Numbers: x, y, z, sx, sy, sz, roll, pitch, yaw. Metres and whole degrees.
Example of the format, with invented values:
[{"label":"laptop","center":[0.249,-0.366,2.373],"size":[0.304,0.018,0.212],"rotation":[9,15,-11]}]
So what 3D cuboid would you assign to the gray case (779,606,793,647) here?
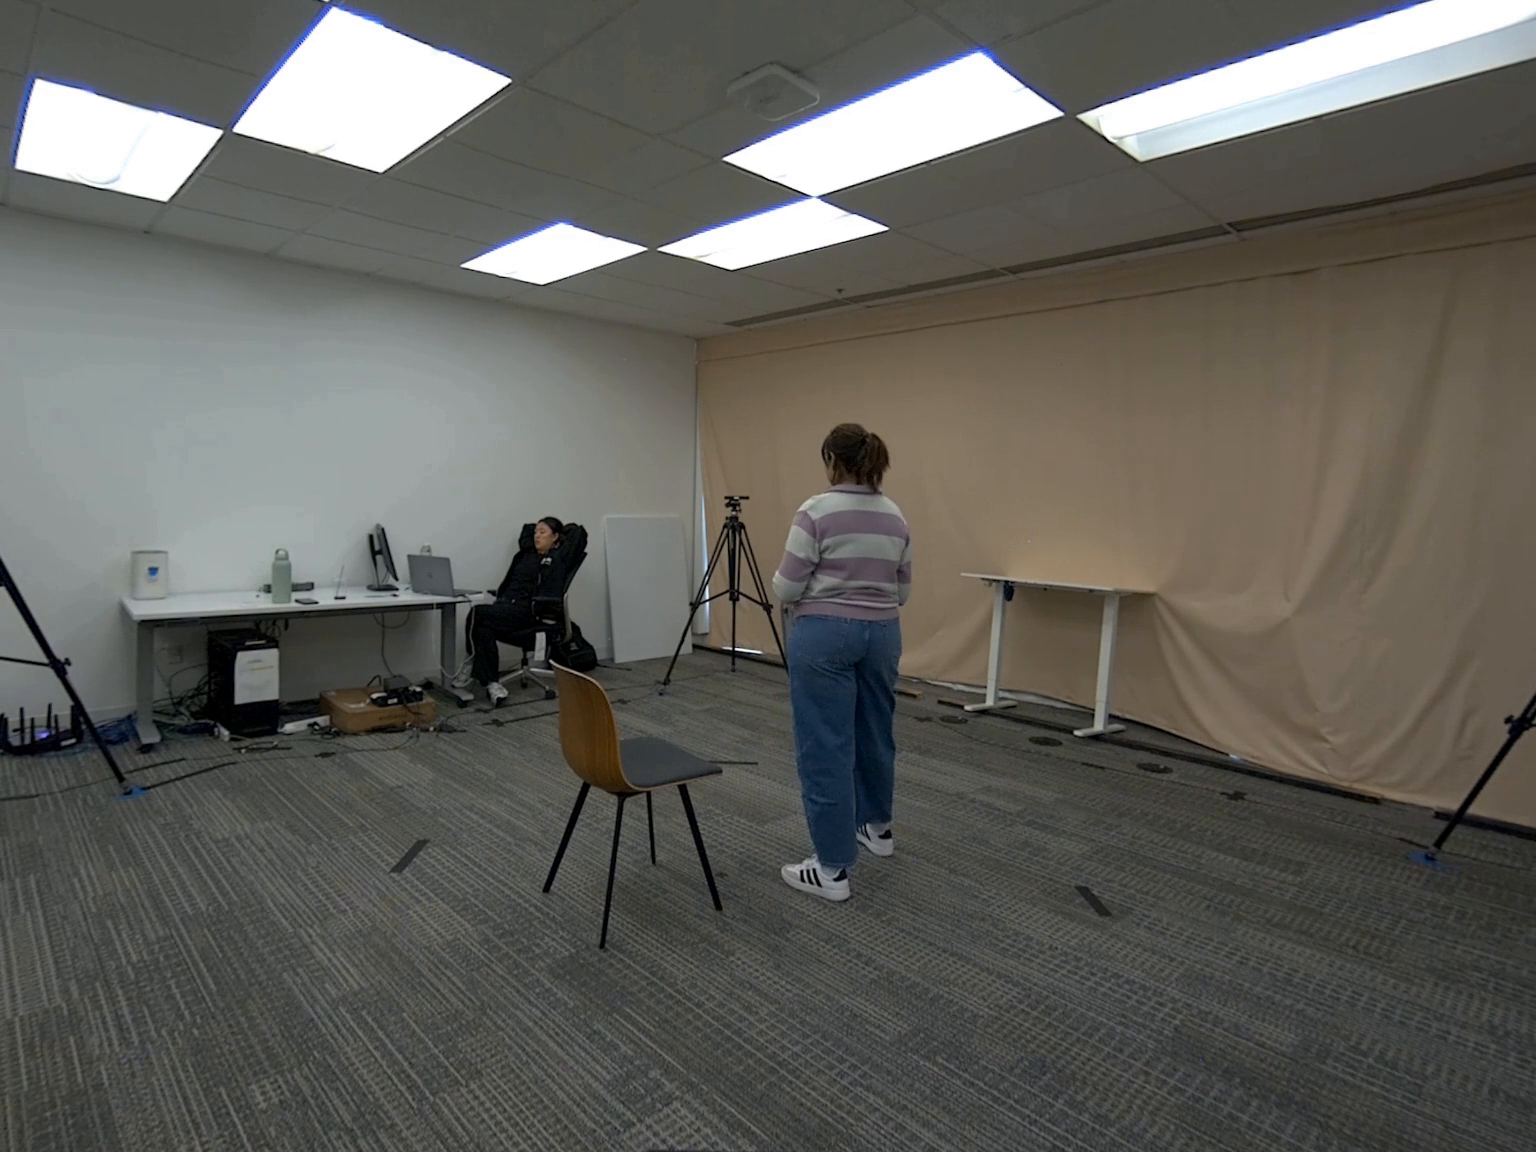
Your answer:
[{"label":"gray case","center":[0.186,0.195,3.284],"size":[0.252,0.261,0.106],"rotation":[-3,-3,-28]}]
